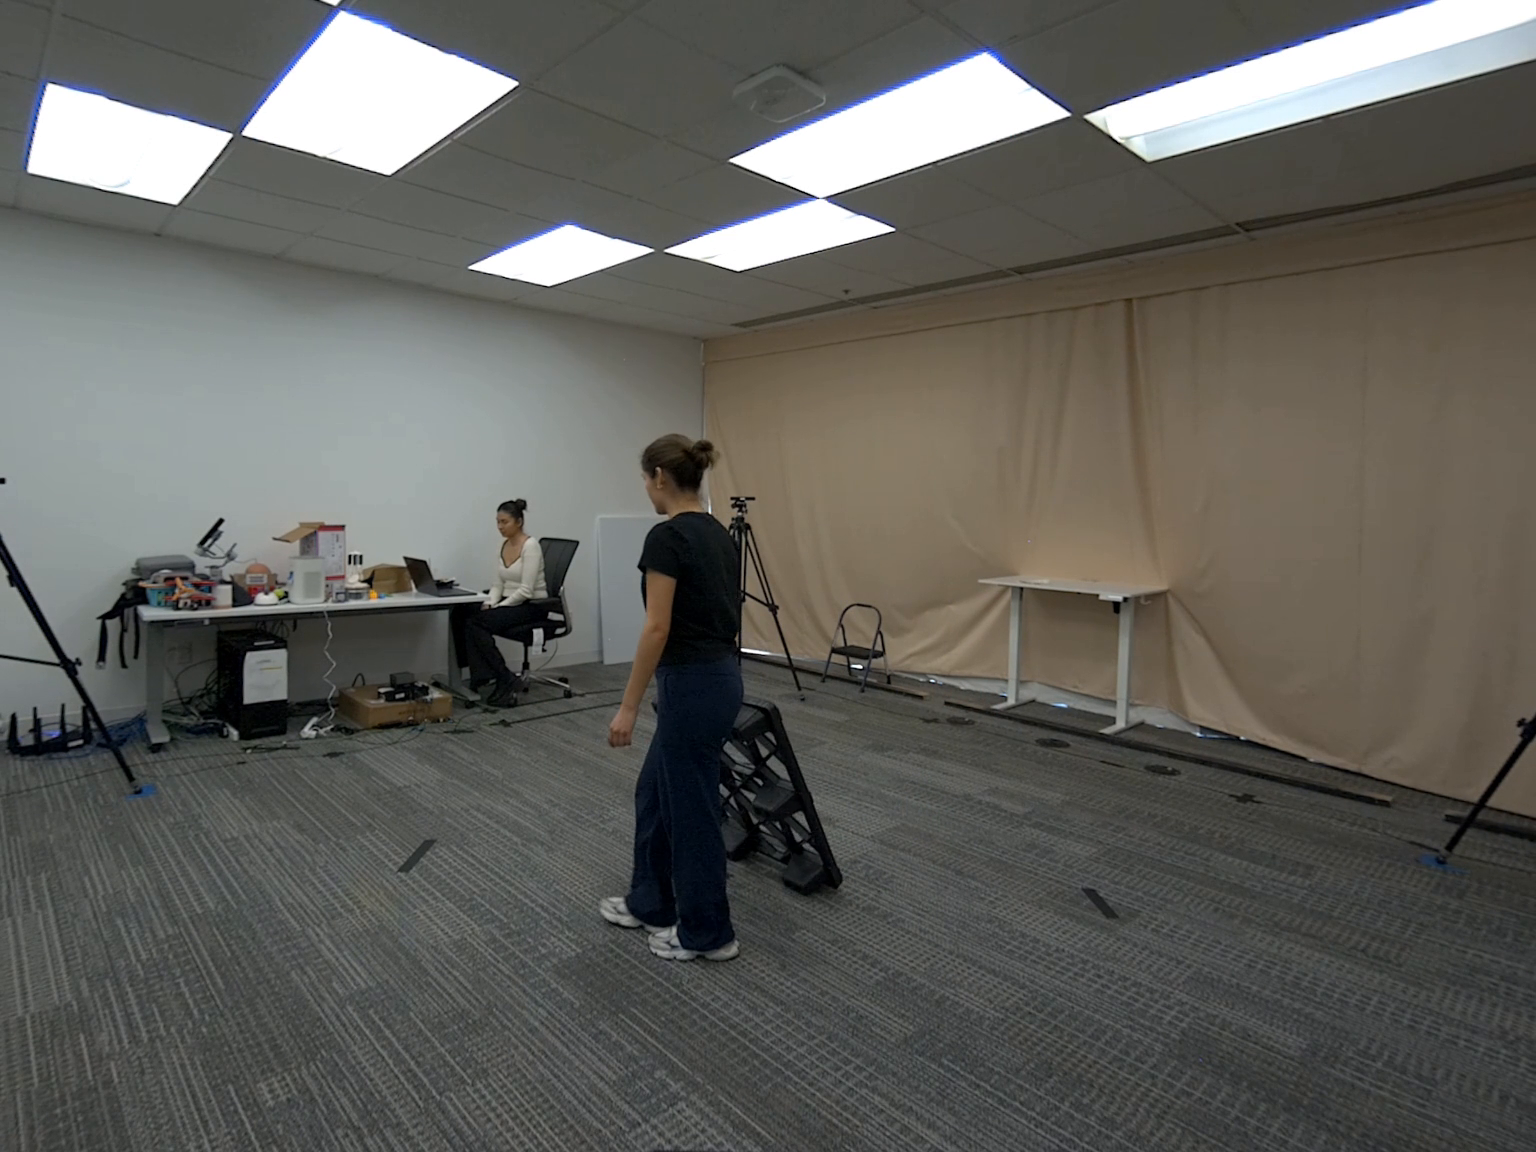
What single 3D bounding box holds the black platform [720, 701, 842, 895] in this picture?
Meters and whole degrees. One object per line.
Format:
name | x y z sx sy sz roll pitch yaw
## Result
black platform | -0.106 0.752 3.022 0.620 0.790 0.142 5 31 47
